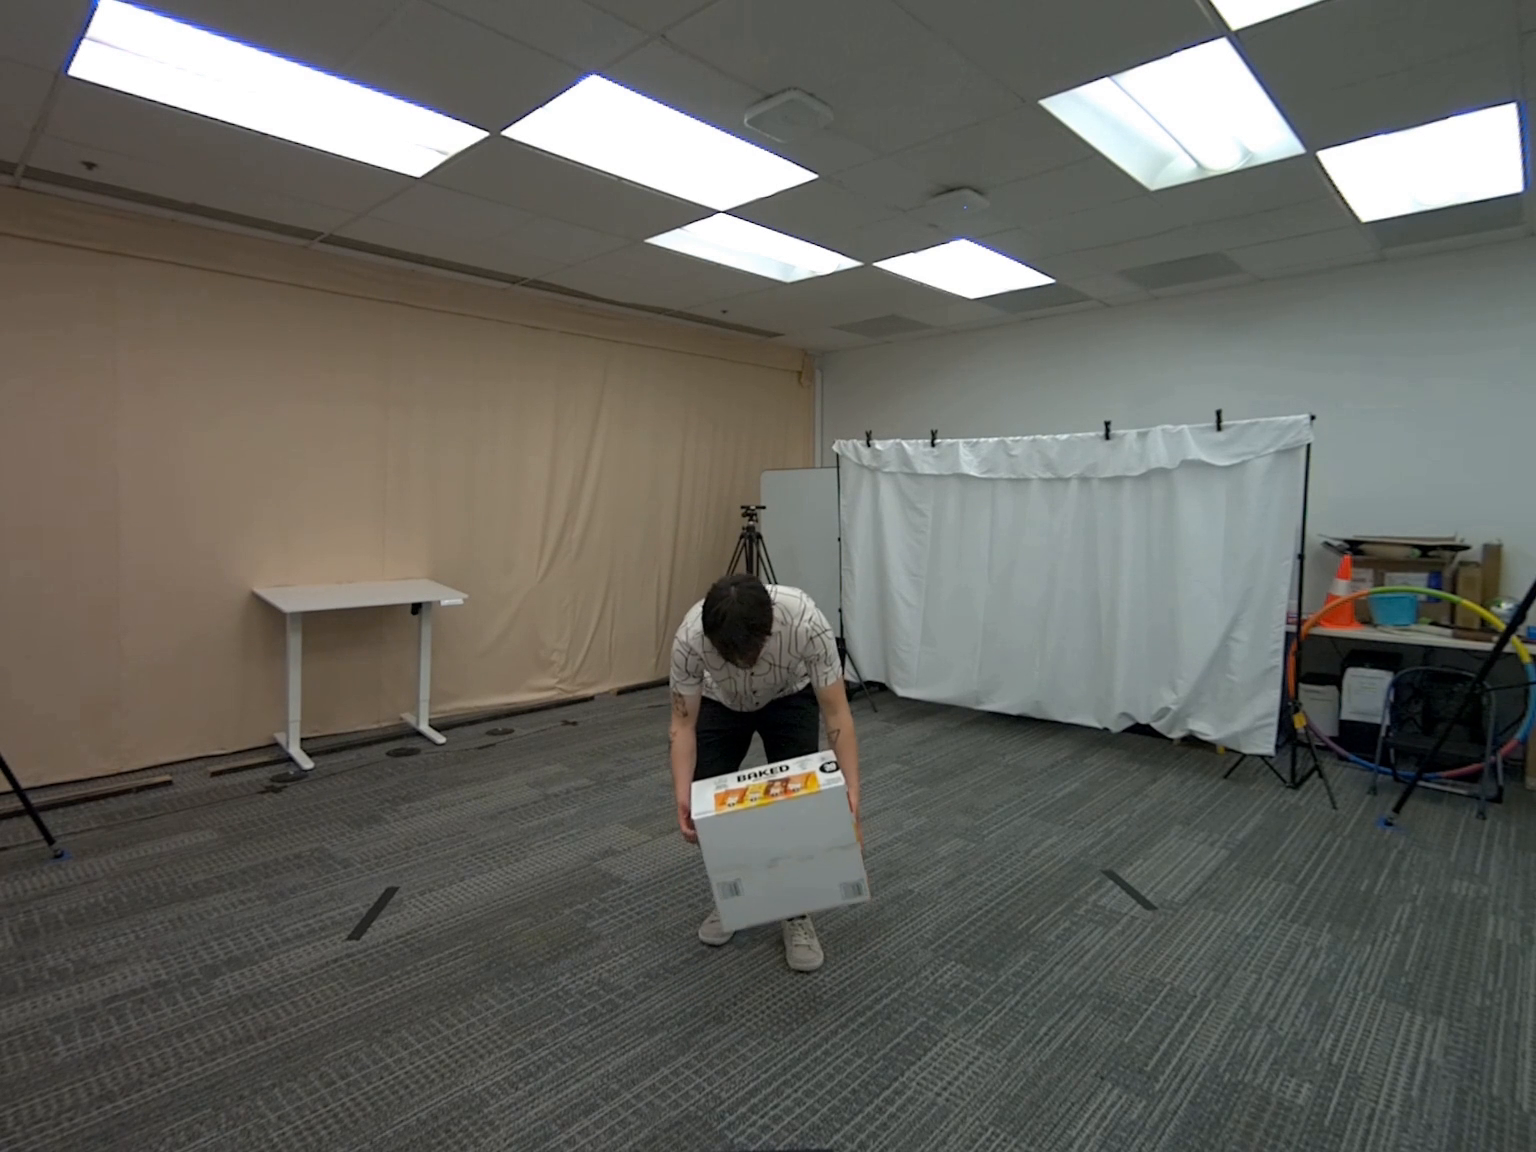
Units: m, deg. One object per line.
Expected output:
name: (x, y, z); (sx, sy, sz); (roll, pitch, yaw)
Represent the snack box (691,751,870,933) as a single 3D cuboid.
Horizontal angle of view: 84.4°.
snack box: (0.032, 0.706, 2.267); (0.405, 0.337, 0.208); (-13, 11, -1)
